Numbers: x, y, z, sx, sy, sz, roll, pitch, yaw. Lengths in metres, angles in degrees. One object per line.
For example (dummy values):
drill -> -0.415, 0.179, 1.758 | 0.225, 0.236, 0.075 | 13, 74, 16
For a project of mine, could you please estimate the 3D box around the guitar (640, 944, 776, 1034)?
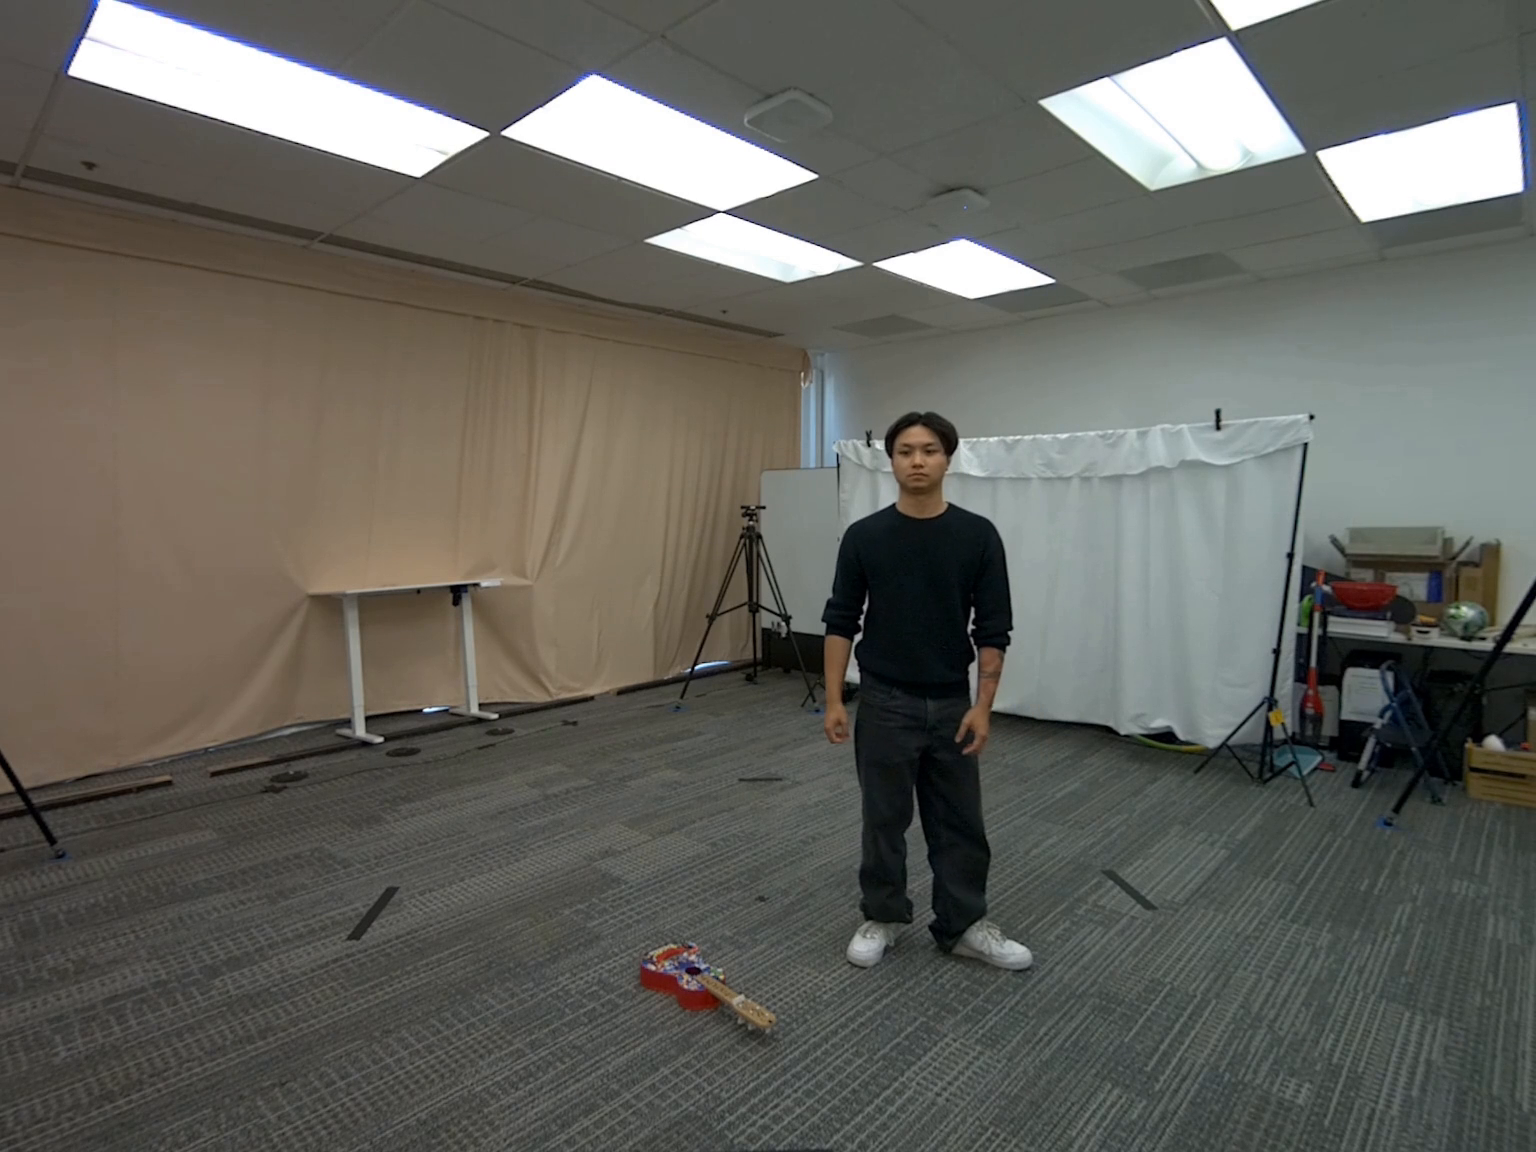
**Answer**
guitar -> -0.181, 1.172, 2.340 | 0.187, 0.070, 0.513 | -3, 5, -33
